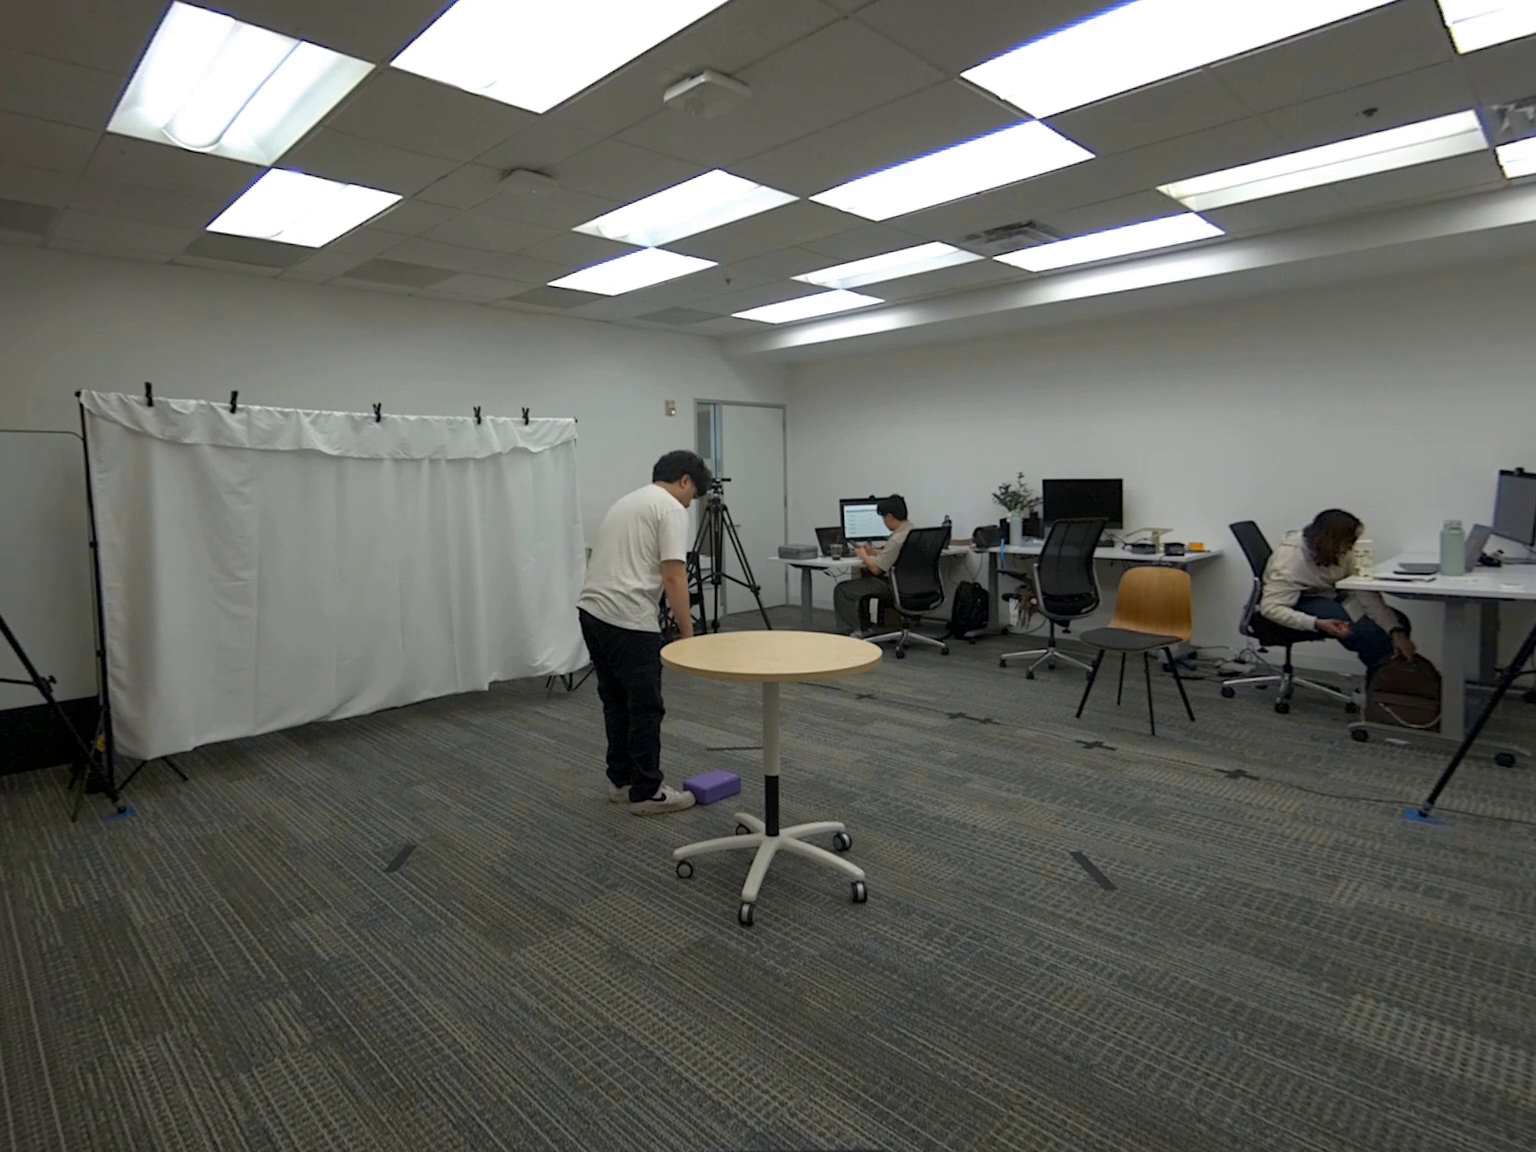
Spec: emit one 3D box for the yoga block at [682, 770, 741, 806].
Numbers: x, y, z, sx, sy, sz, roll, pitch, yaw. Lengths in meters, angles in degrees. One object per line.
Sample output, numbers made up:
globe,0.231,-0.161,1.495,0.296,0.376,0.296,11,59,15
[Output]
yoga block,-0.250,0.926,3.774,0.153,0.076,0.223,4,7,43
